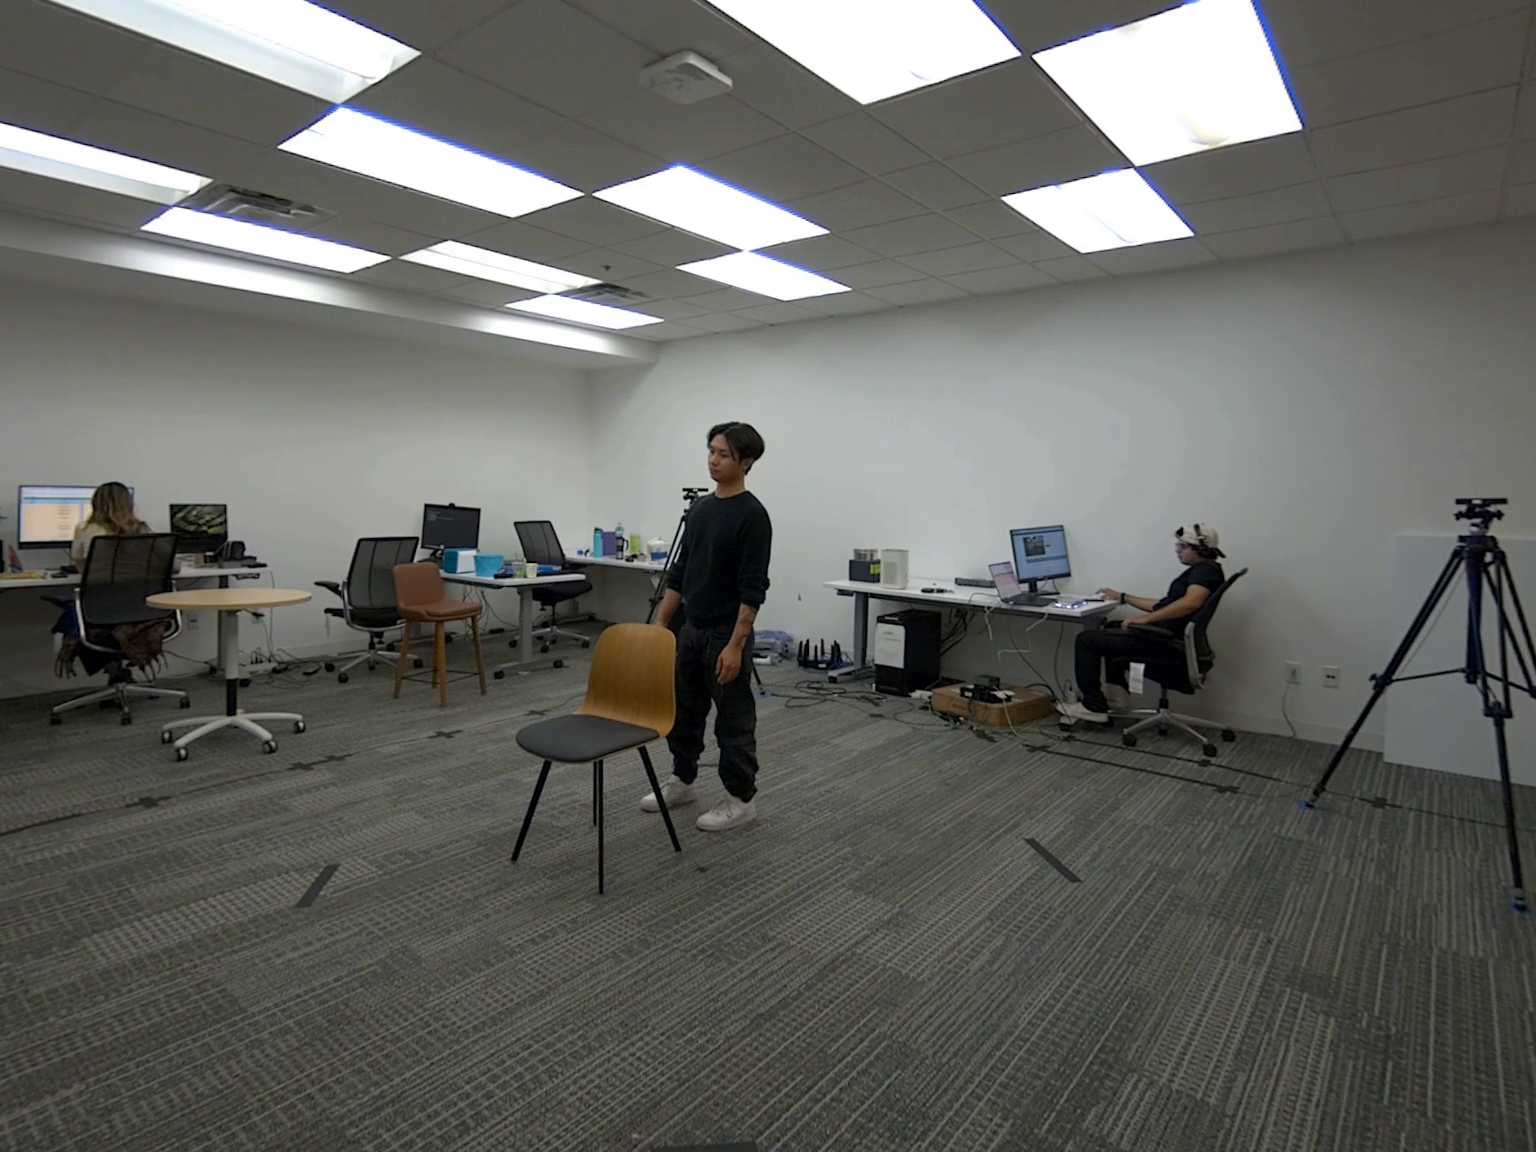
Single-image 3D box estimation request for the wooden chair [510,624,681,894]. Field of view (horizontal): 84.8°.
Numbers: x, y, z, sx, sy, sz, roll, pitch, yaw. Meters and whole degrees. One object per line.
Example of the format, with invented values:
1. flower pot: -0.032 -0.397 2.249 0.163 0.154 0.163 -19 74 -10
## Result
1. wooden chair: -0.644 0.627 3.172 0.493 0.878 0.507 3 -1 33
